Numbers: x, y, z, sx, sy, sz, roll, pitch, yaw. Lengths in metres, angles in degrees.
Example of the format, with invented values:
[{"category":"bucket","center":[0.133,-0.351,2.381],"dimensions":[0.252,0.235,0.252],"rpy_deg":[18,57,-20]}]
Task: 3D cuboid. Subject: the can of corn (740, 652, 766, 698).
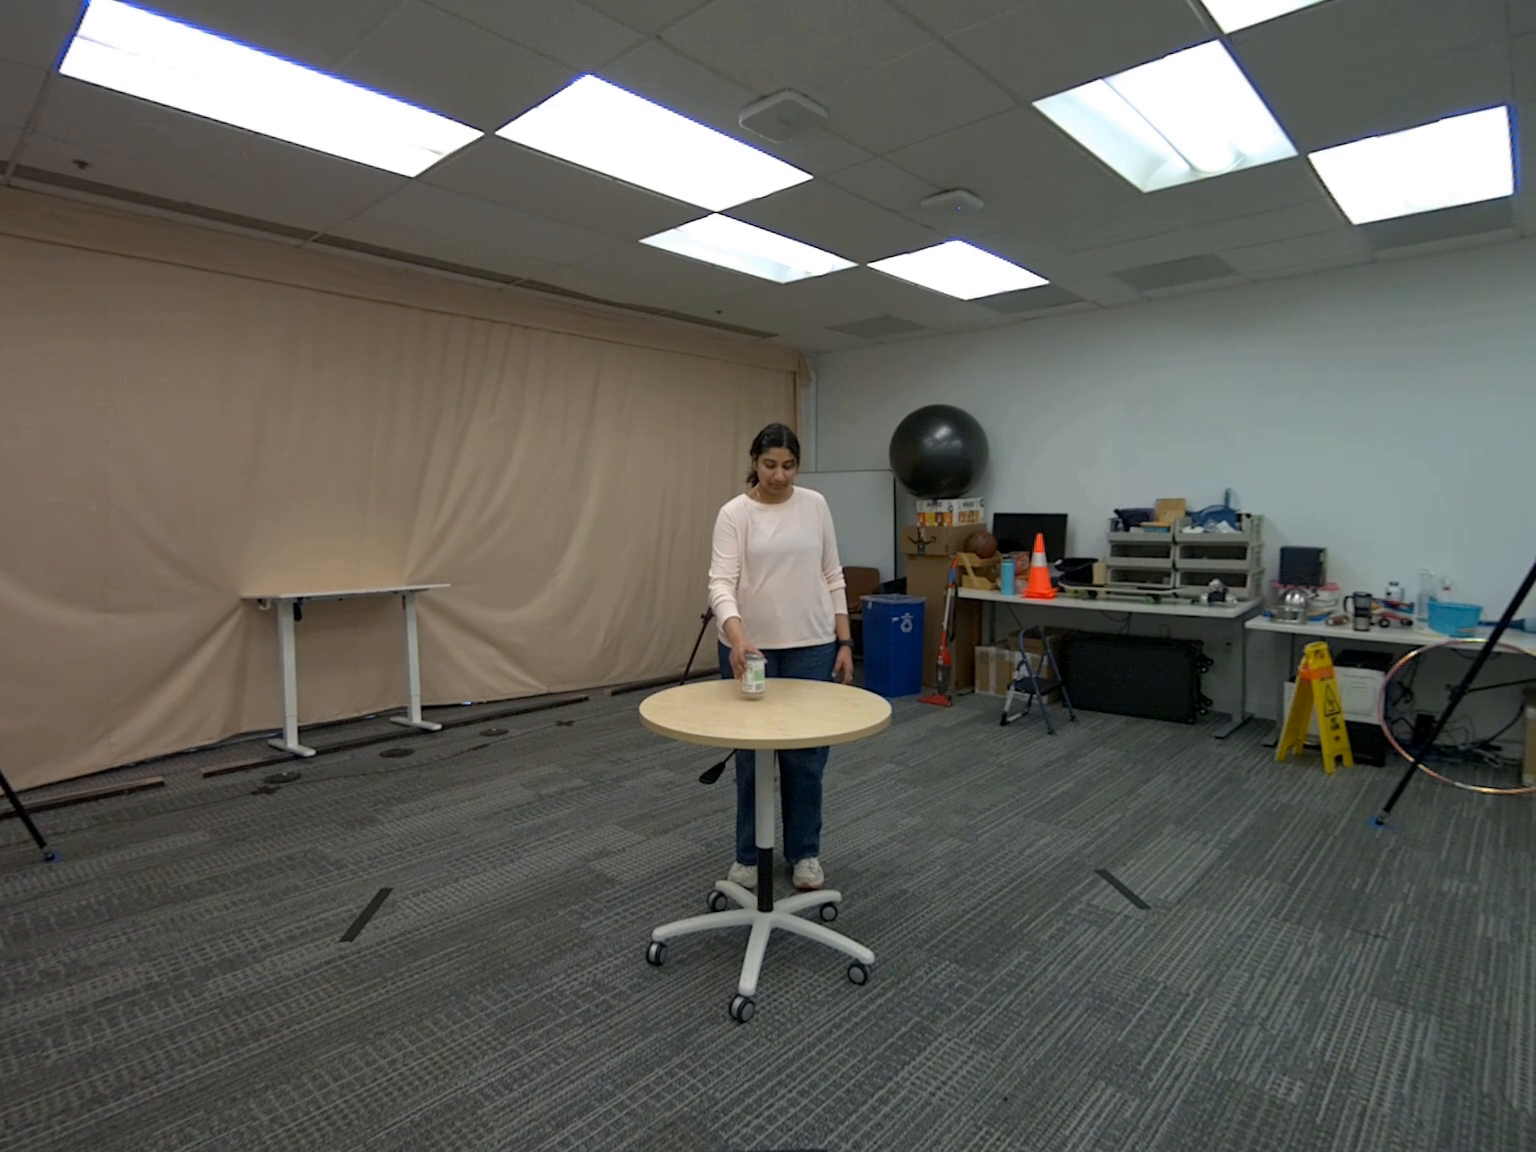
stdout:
[{"category":"can of corn","center":[-0.043,0.302,2.642],"dimensions":[0.074,0.111,0.074],"rpy_deg":[0,5,-2]}]
